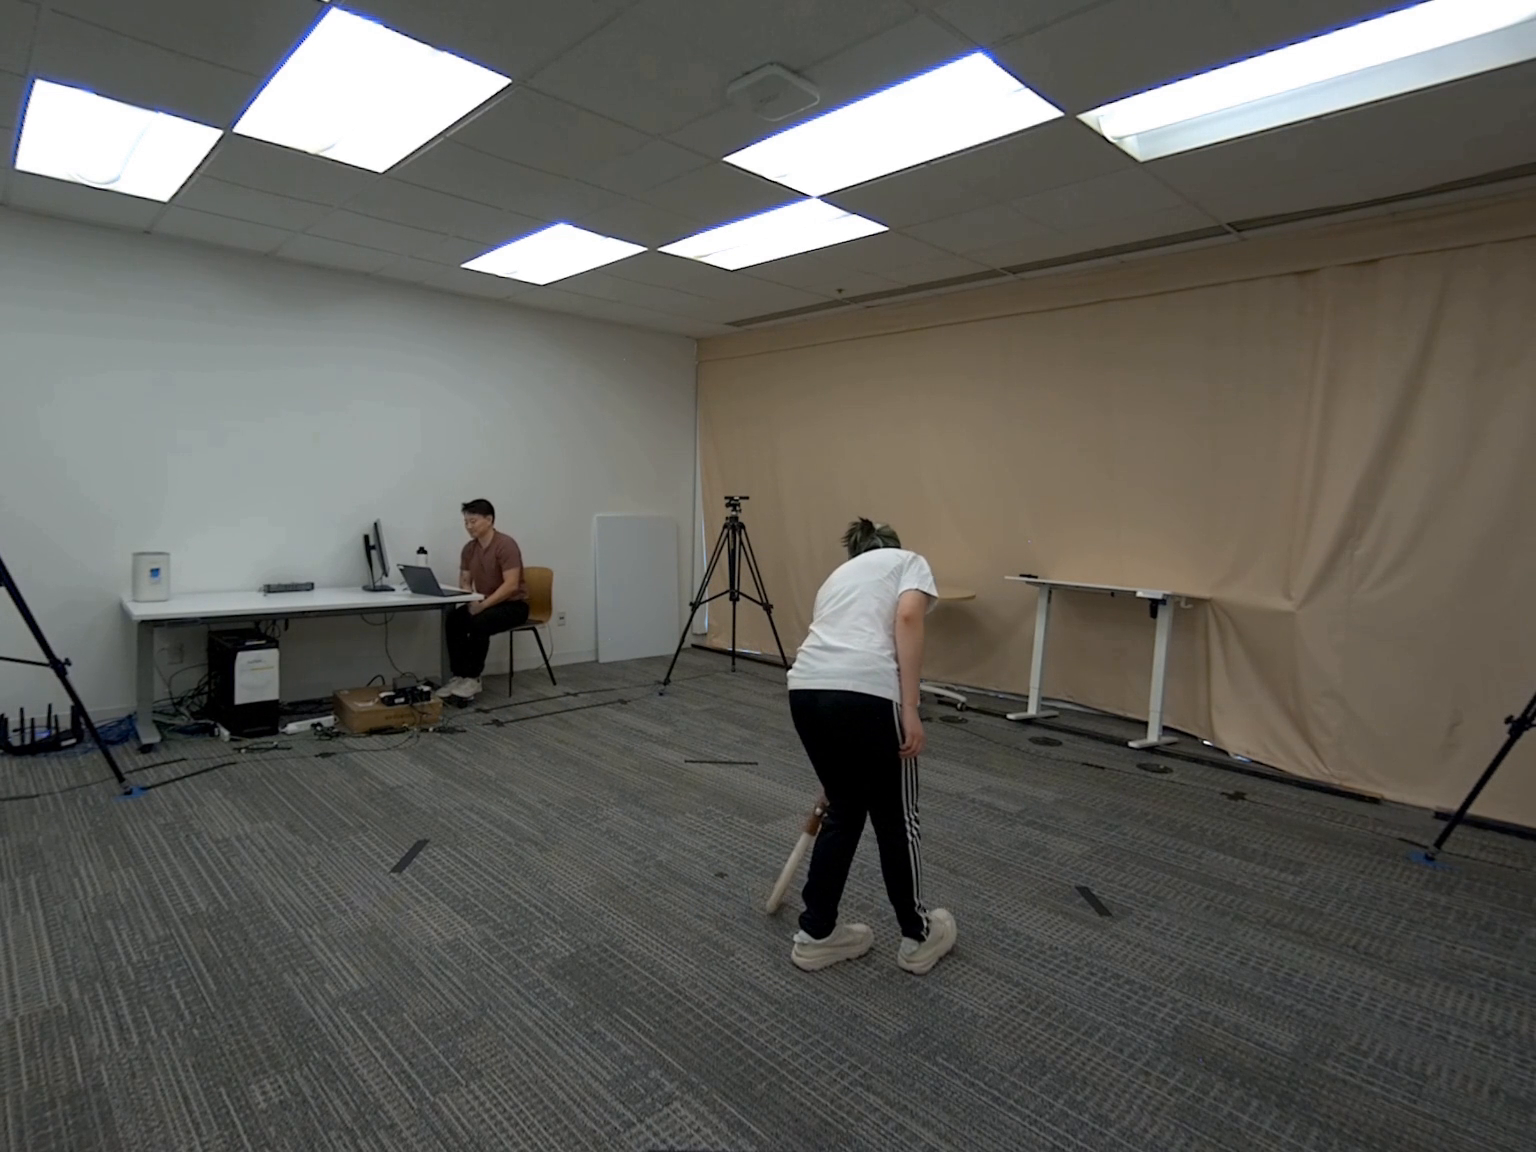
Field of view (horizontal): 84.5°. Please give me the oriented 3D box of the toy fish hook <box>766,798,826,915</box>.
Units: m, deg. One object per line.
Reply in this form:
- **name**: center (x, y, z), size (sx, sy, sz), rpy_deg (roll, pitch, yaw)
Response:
- **toy fish hook**: center (0.114, 0.900, 2.819), size (0.049, 0.506, 0.222), rpy_deg (28, 5, 10)
